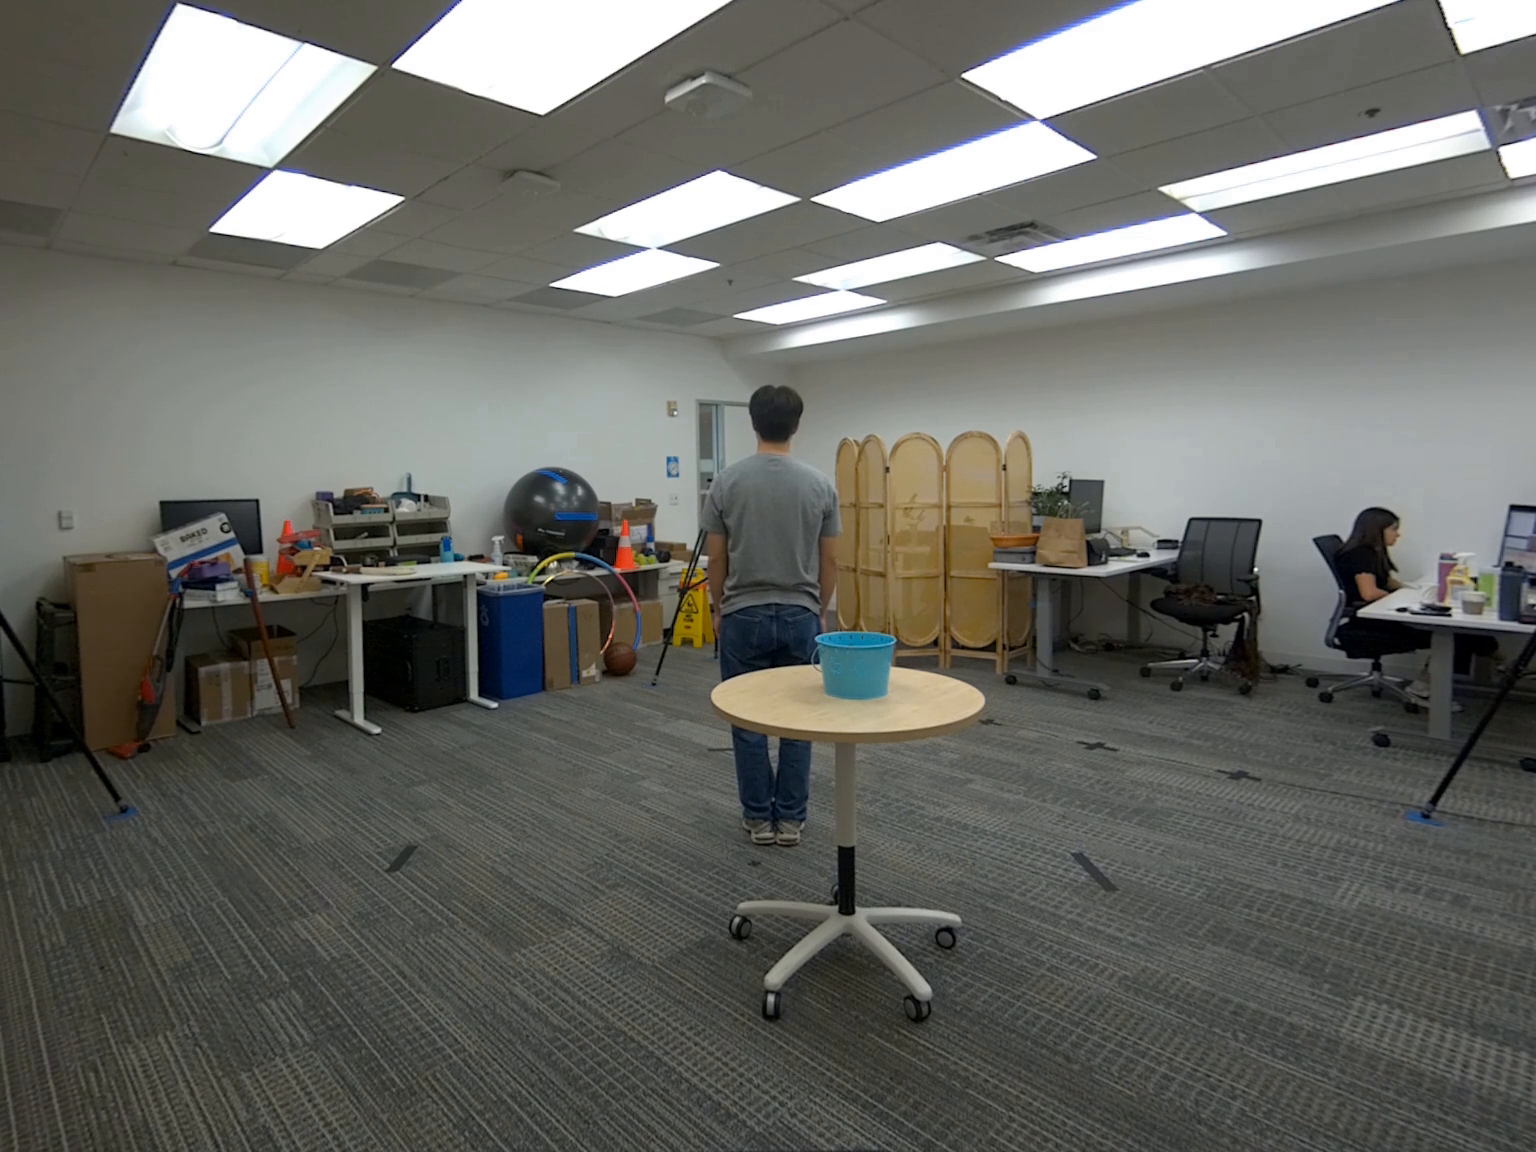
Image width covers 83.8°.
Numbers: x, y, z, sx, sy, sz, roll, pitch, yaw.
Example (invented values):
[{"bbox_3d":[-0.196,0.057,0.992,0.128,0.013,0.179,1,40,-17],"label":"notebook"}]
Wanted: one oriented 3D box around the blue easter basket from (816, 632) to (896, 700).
[{"bbox_3d":[0.259,0.260,2.453,0.243,0.155,0.245,-1,6,-2],"label":"blue easter basket"}]
